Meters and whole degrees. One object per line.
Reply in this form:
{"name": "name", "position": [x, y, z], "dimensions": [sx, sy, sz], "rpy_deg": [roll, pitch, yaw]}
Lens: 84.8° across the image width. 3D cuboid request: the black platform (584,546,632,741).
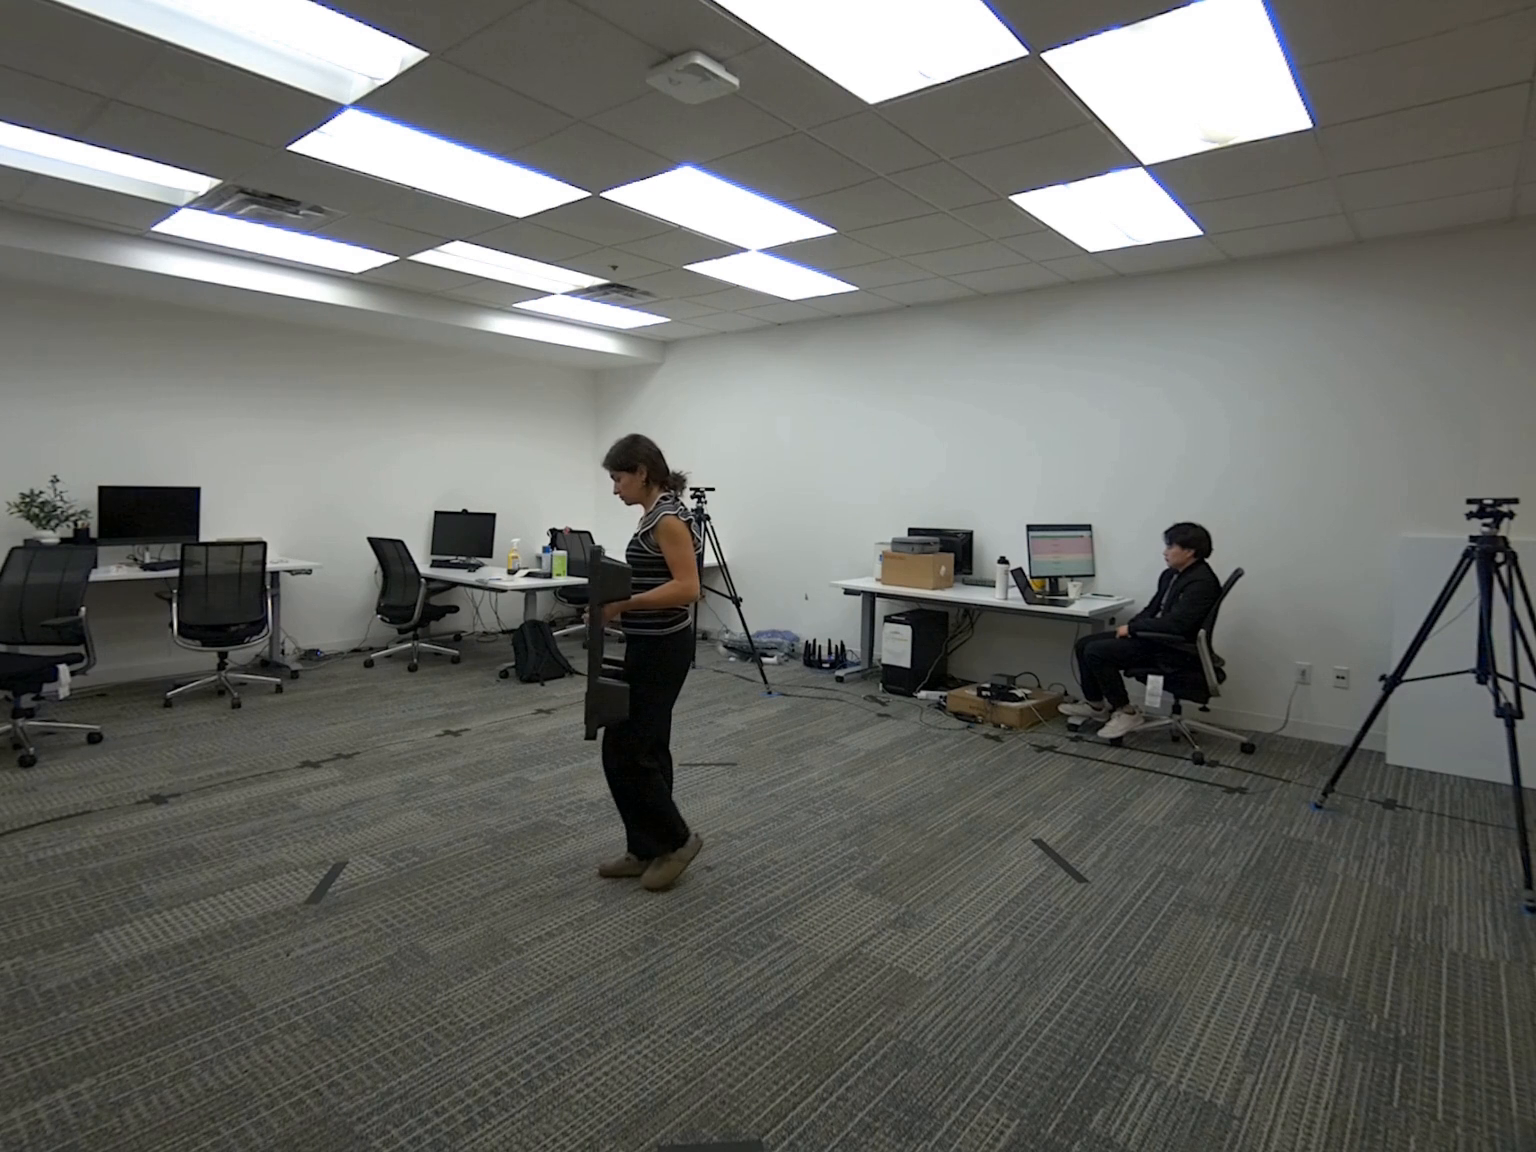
{"name": "black platform", "position": [-0.580, 0.196, 2.999], "dimensions": [0.142, 0.605, 0.814], "rpy_deg": [0, 1, -11]}
